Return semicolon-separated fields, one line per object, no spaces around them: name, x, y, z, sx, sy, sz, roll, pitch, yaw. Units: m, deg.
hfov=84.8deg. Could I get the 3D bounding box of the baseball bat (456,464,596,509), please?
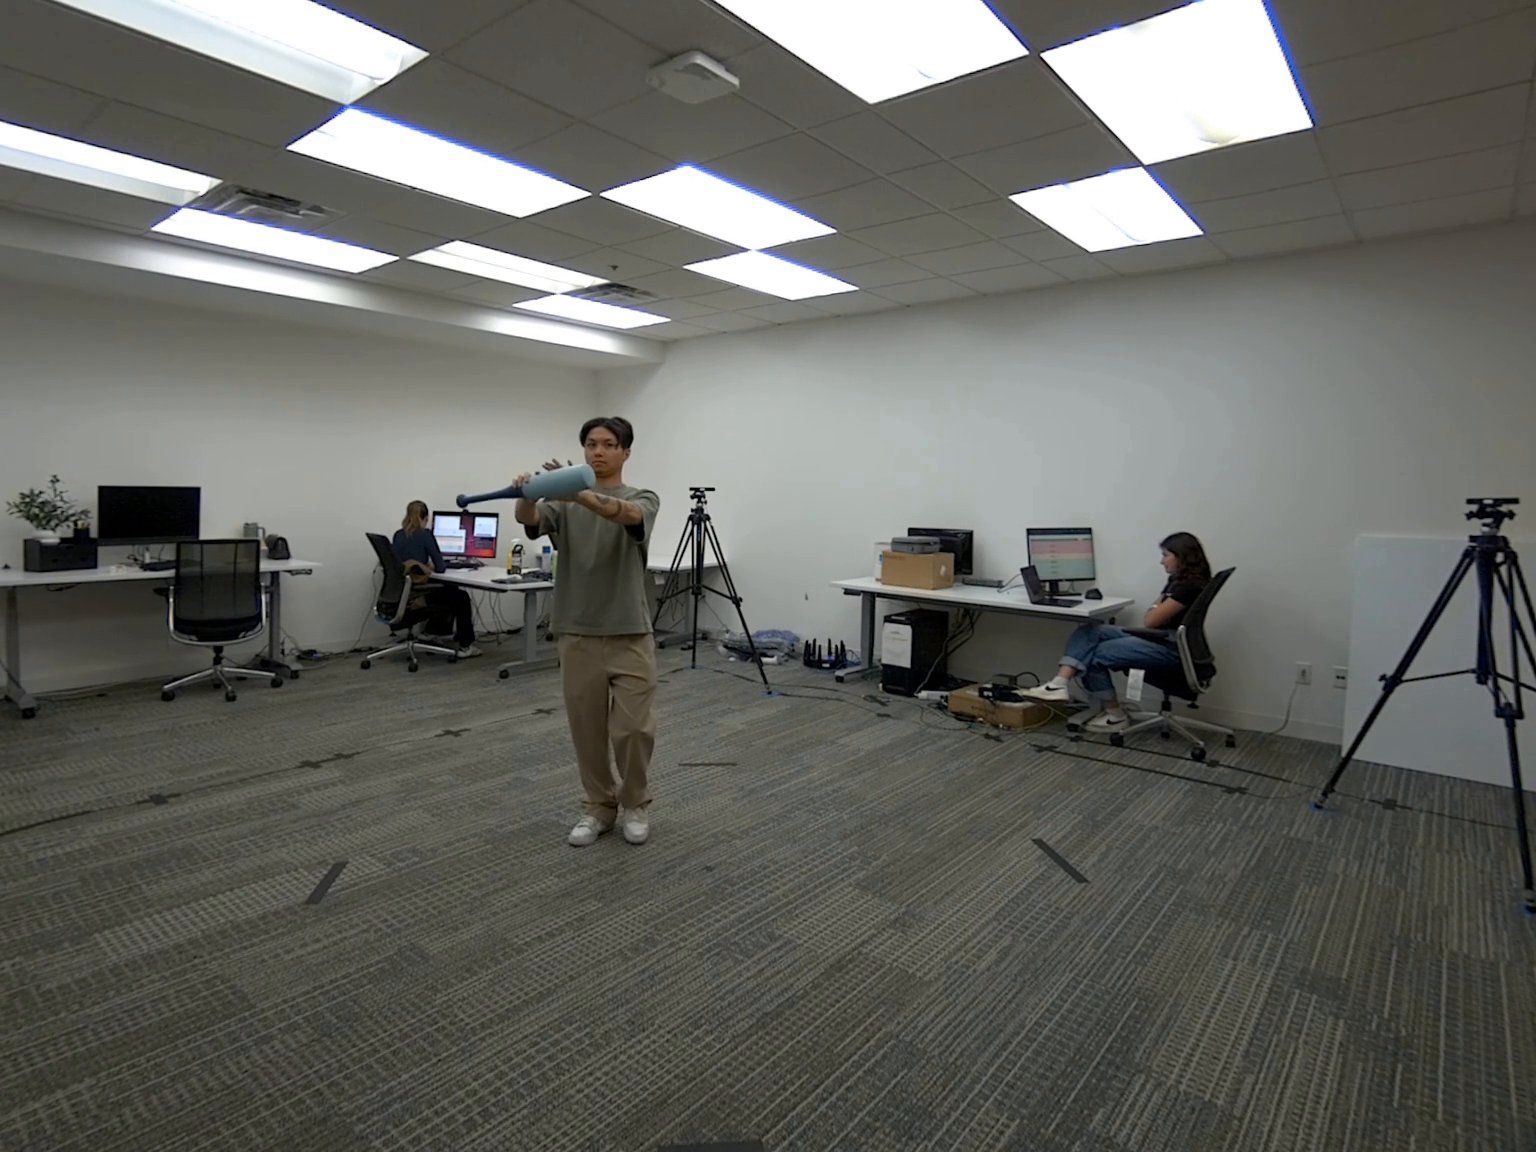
baseball bat;-0.851;-0.299;2.889;0.553;0.089;0.087;-8;1;22
